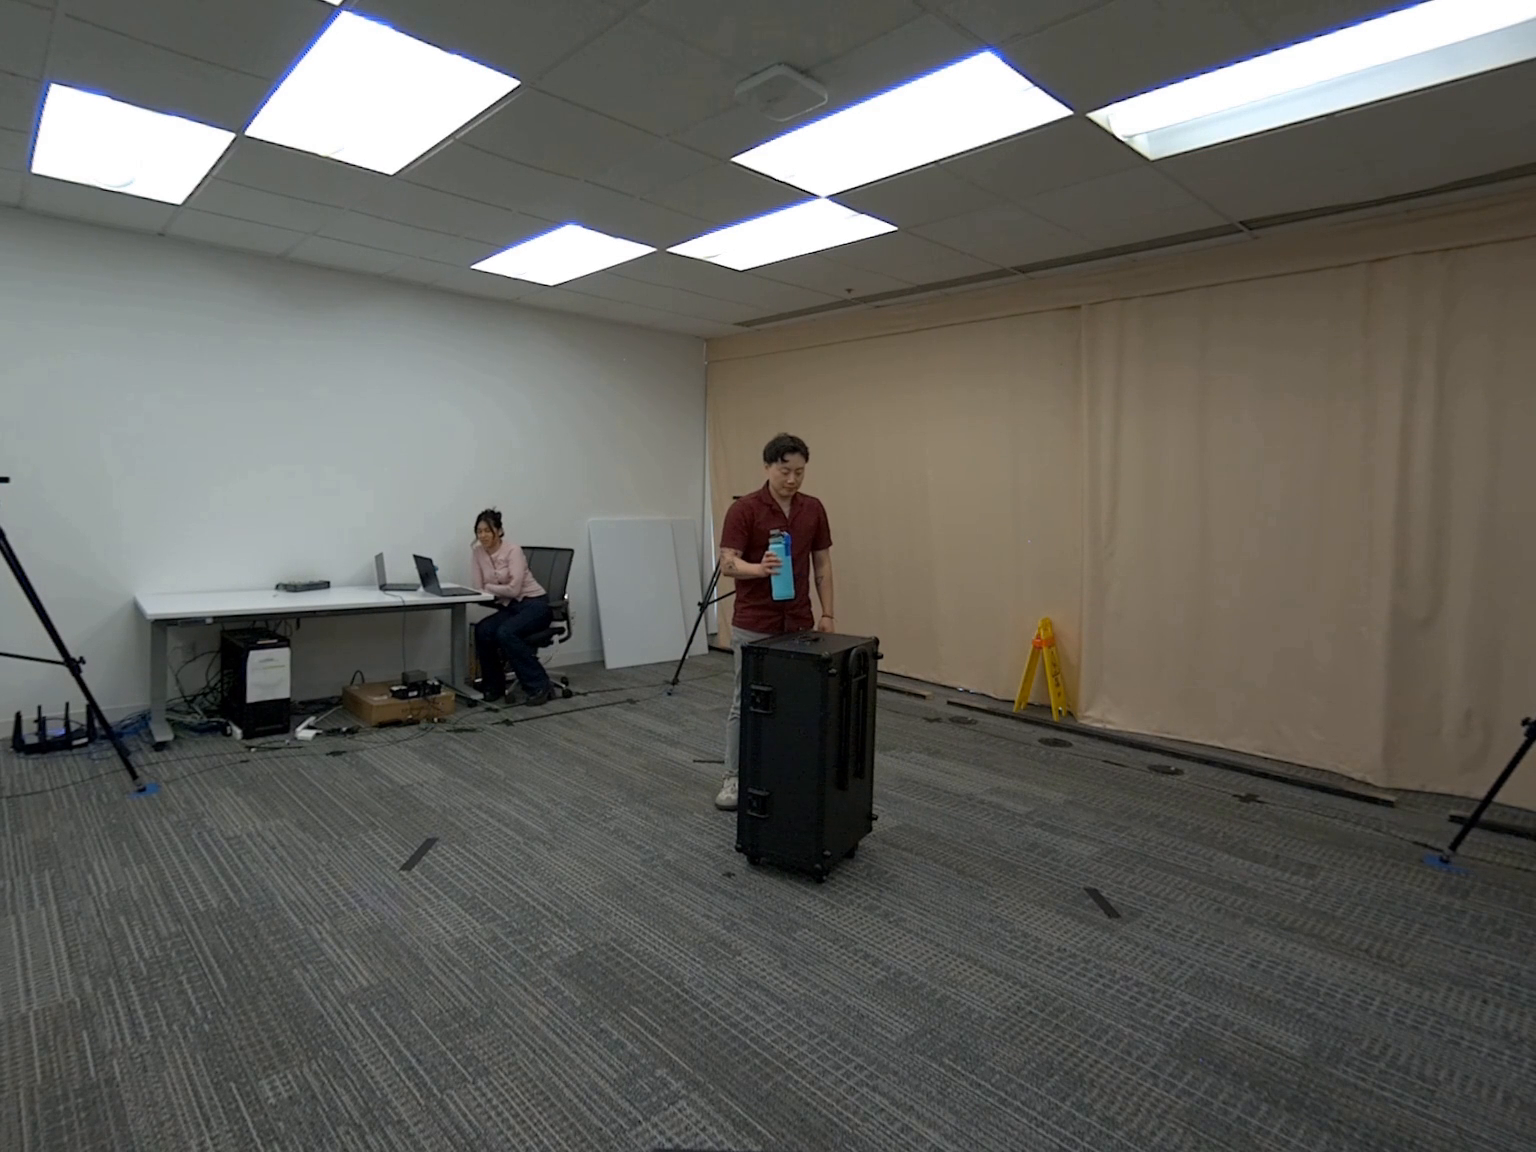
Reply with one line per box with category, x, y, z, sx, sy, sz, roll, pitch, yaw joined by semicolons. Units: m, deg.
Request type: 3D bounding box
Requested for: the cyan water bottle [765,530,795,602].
cyan water bottle;0.047;-0.048;3.471;0.092;0.283;0.092;-3;3;-1
